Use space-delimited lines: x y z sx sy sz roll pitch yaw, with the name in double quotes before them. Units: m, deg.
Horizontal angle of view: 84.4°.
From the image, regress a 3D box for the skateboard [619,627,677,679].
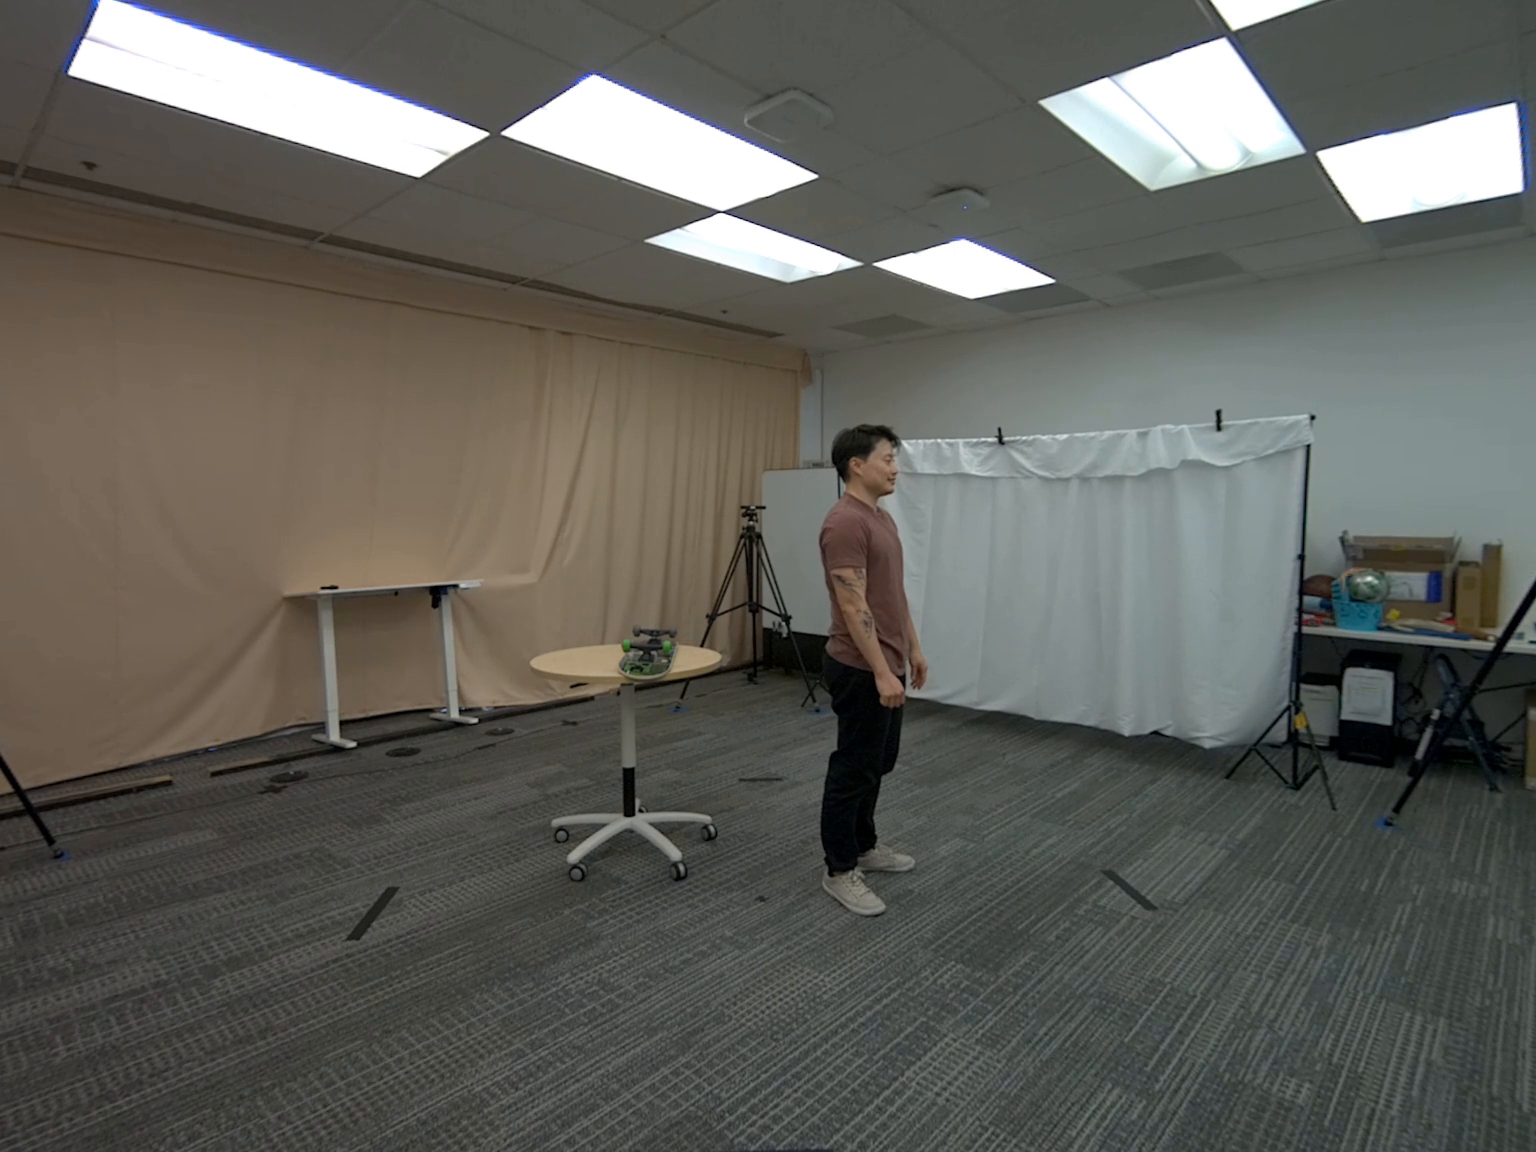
"skateboard" -0.468 0.288 3.382 0.193 0.110 0.788 1 4 -3
